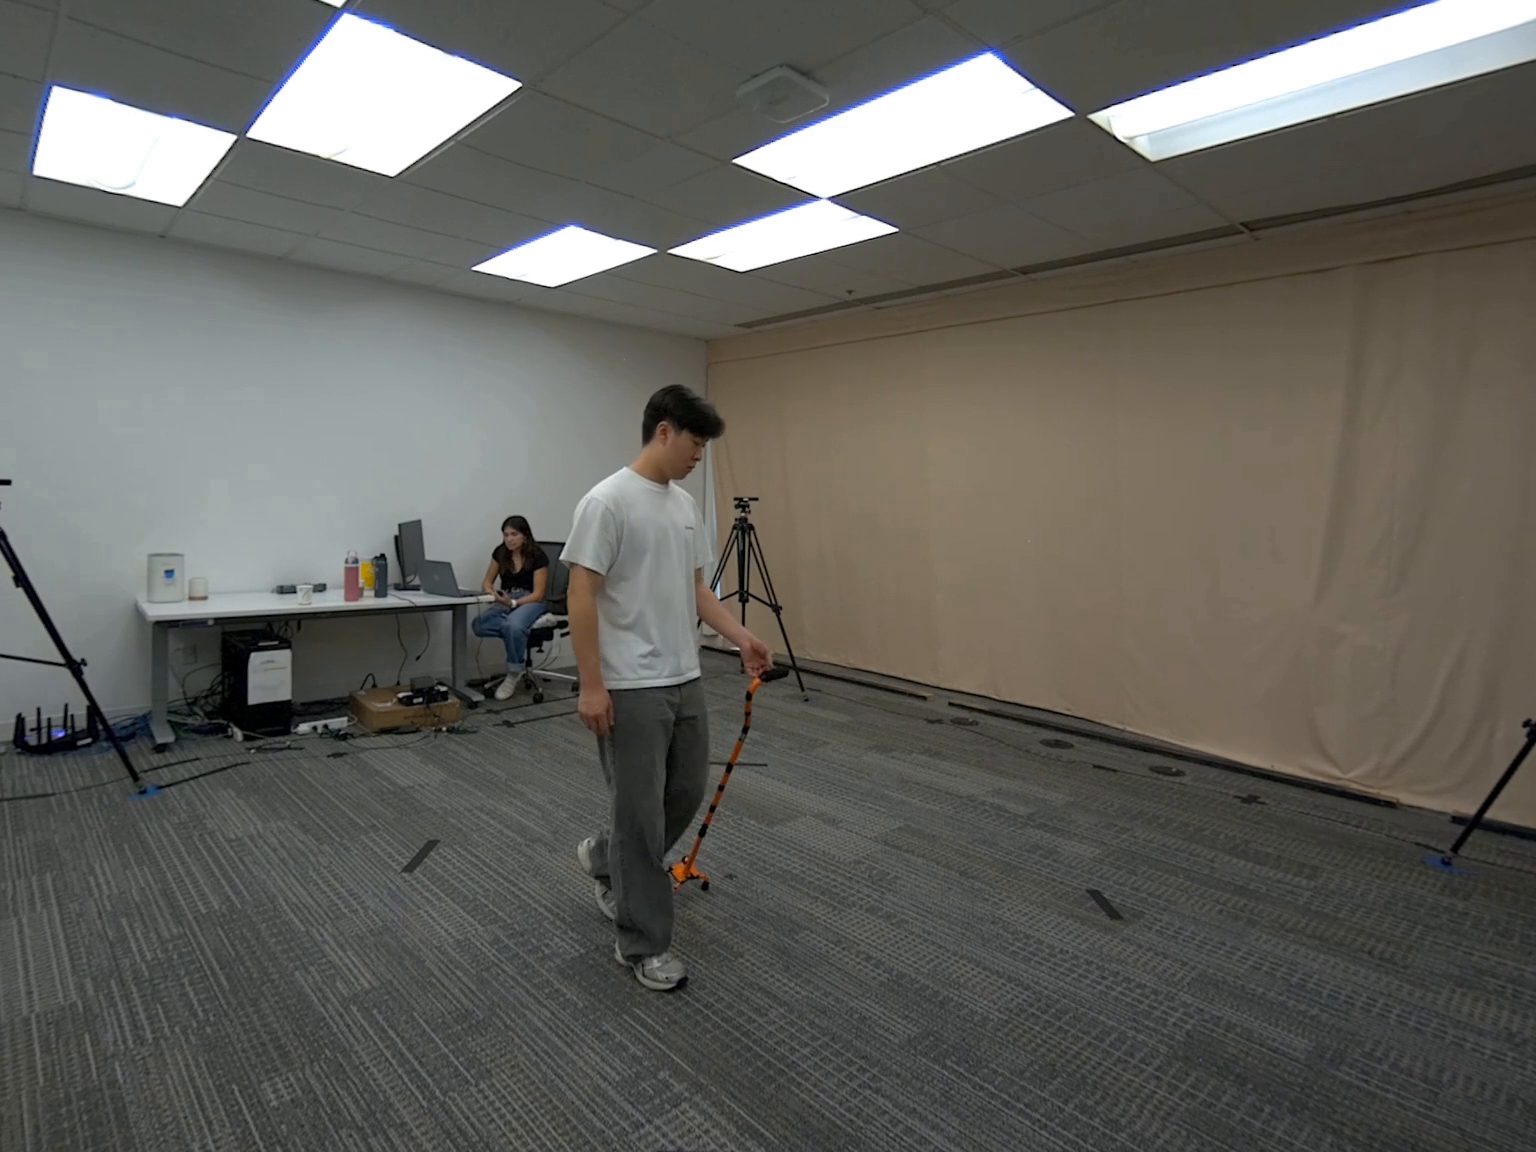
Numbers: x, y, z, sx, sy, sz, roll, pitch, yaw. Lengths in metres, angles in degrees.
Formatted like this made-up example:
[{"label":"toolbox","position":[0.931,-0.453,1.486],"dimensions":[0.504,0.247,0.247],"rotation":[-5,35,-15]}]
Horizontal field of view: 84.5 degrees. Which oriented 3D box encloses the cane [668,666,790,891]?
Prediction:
[{"label":"cane","position":[-0.168,0.695,2.817],"dimensions":[0.201,0.901,0.156],"rotation":[0,29,-45]}]
